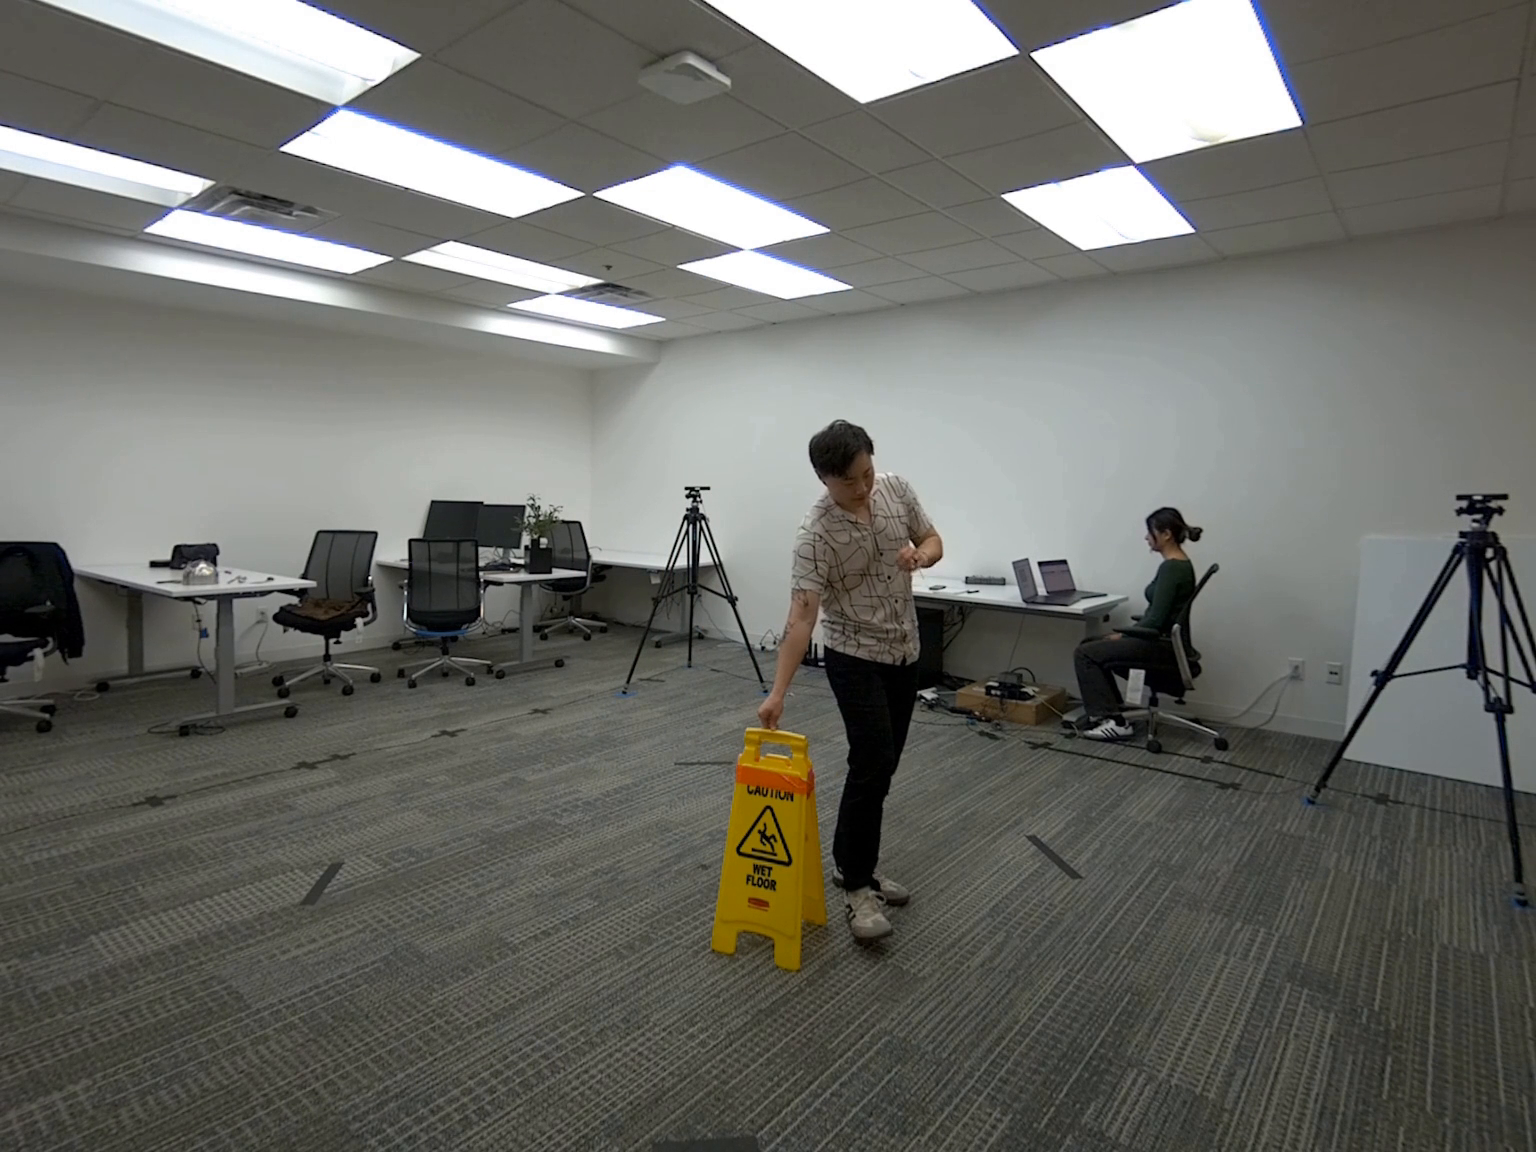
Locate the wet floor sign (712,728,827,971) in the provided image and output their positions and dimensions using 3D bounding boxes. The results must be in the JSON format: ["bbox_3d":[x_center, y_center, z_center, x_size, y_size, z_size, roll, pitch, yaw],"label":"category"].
[{"bbox_3d":[0.013,0.792,2.626,0.289,0.645,0.283,3,3,22],"label":"wet floor sign"}]
